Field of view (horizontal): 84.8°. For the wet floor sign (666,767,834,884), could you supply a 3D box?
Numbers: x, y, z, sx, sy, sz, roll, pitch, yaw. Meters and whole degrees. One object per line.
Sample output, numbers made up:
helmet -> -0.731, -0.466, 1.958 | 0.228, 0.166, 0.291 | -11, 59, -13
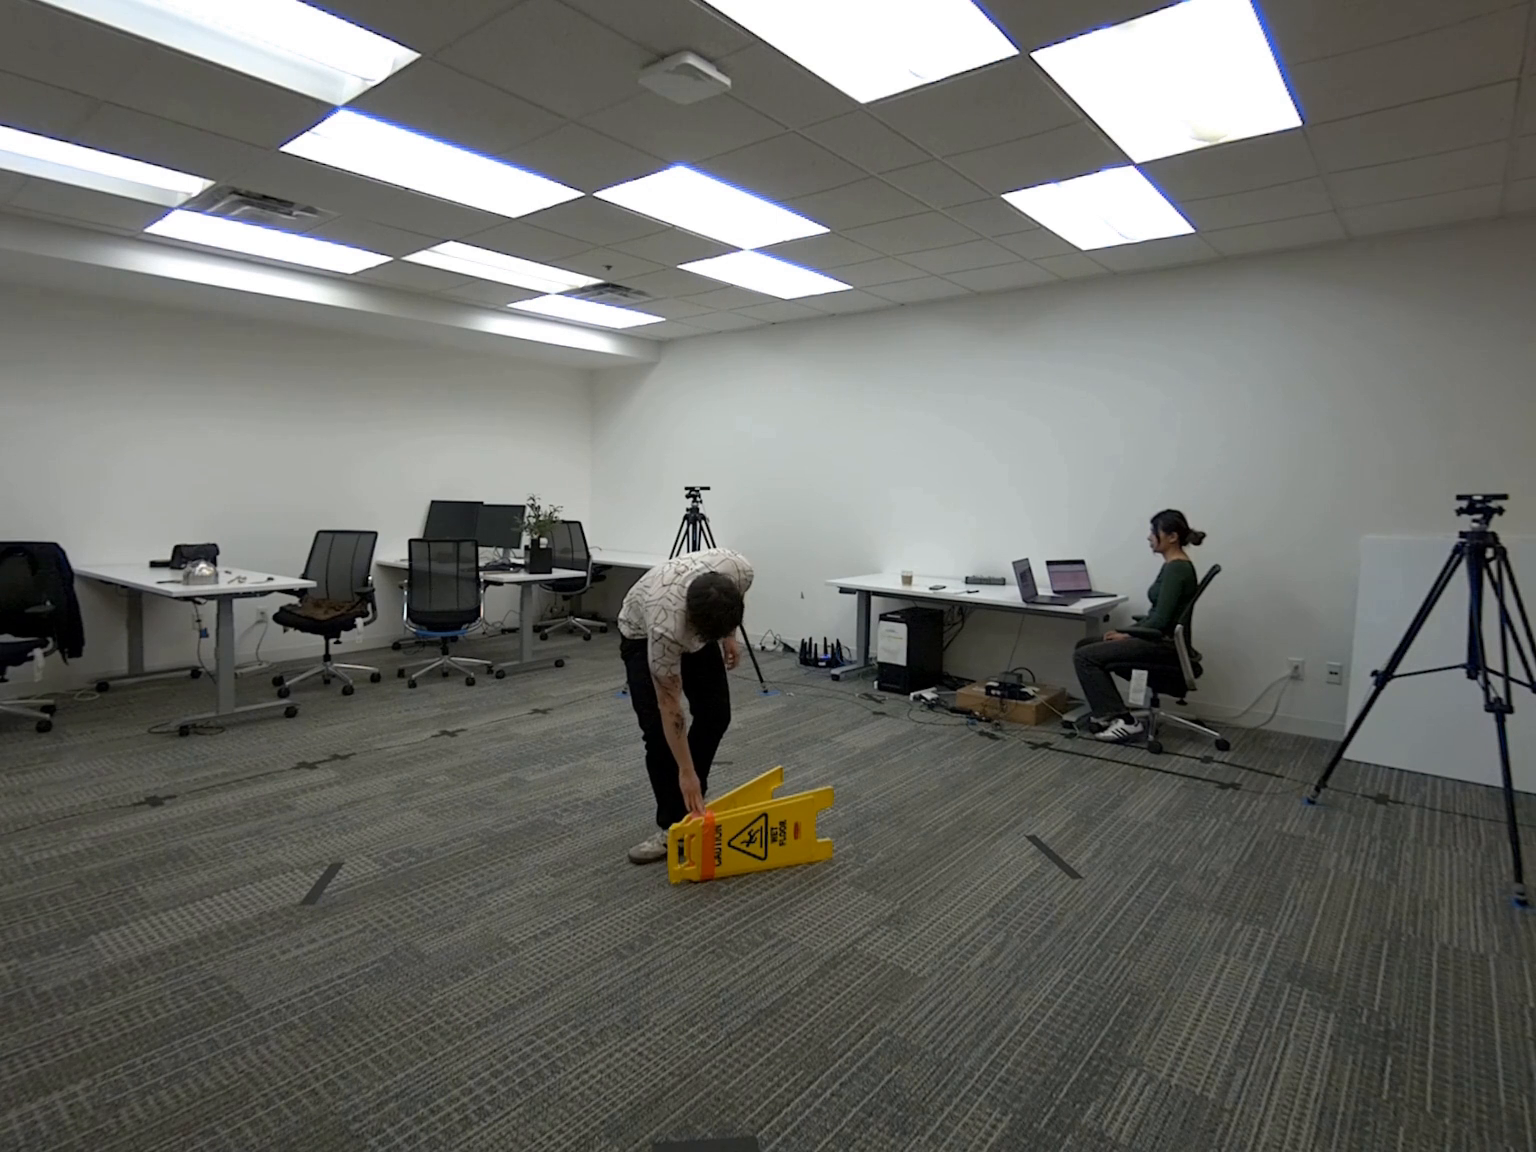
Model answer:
wet floor sign -> -0.105, 0.936, 3.126 | 0.628, 0.281, 0.299 | -6, 8, -39
